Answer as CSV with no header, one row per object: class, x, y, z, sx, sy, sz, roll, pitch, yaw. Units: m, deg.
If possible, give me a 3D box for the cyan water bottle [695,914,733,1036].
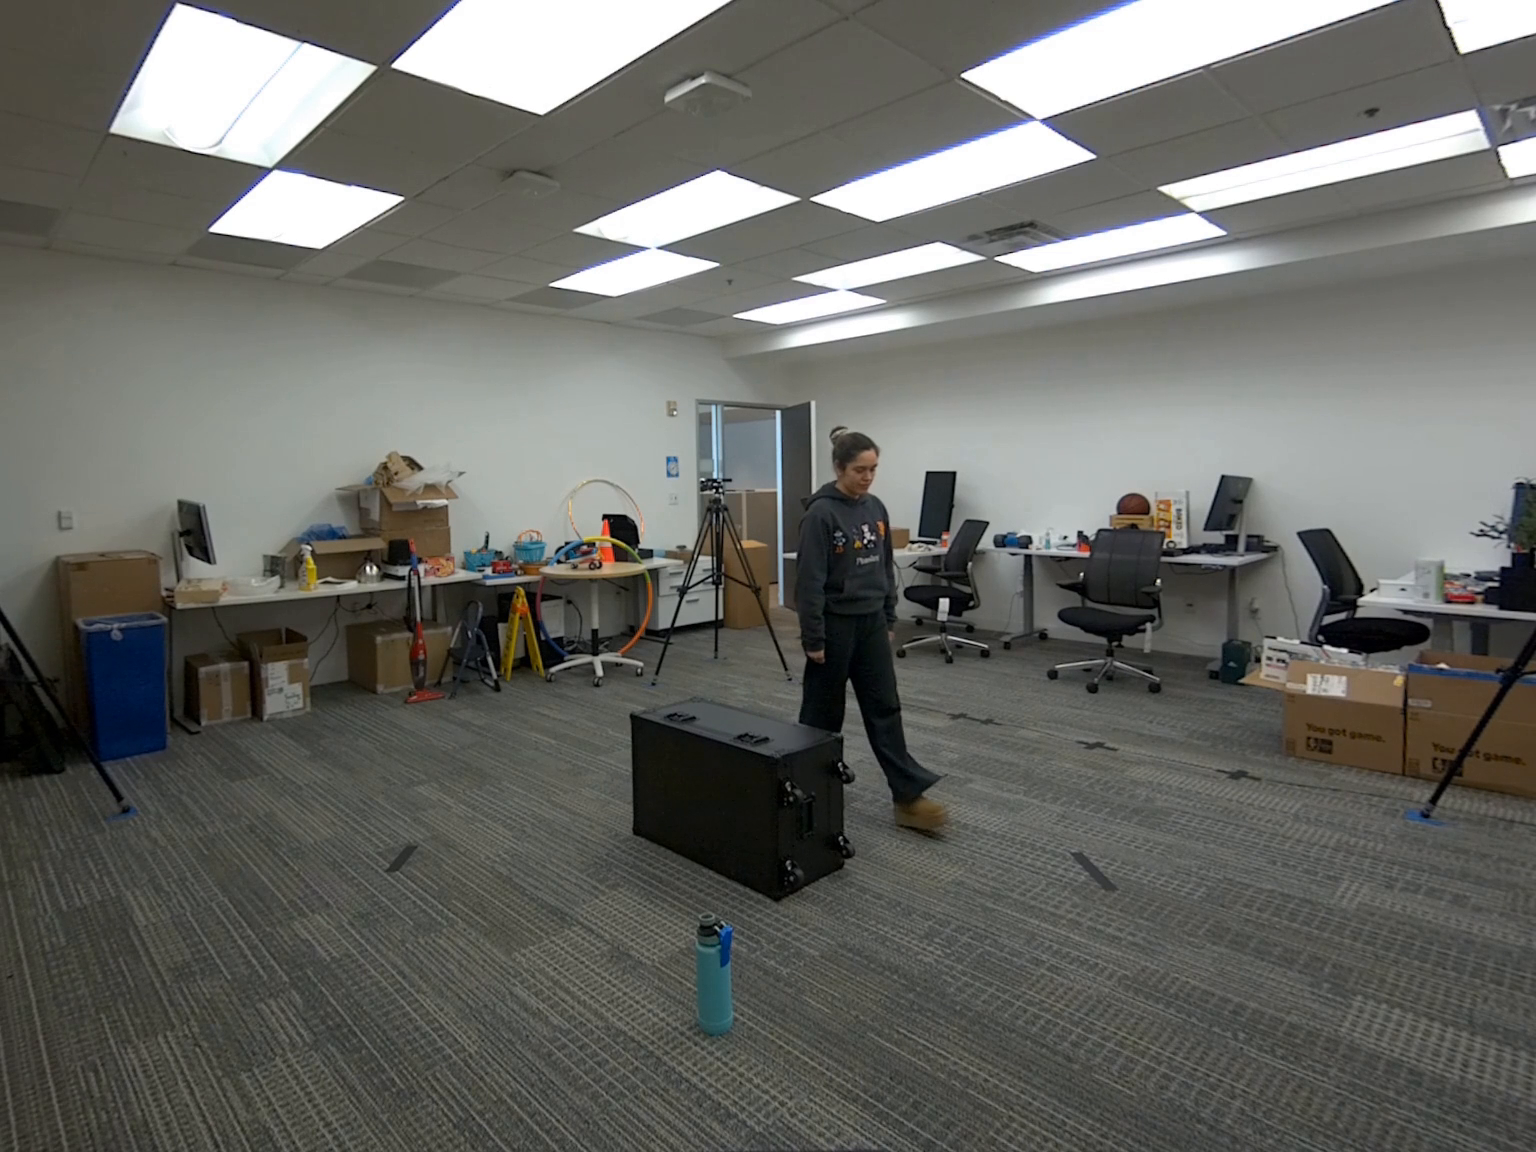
cyan water bottle,-0.134,1.019,2.173,0.092,0.282,0.093,-2,5,-1
